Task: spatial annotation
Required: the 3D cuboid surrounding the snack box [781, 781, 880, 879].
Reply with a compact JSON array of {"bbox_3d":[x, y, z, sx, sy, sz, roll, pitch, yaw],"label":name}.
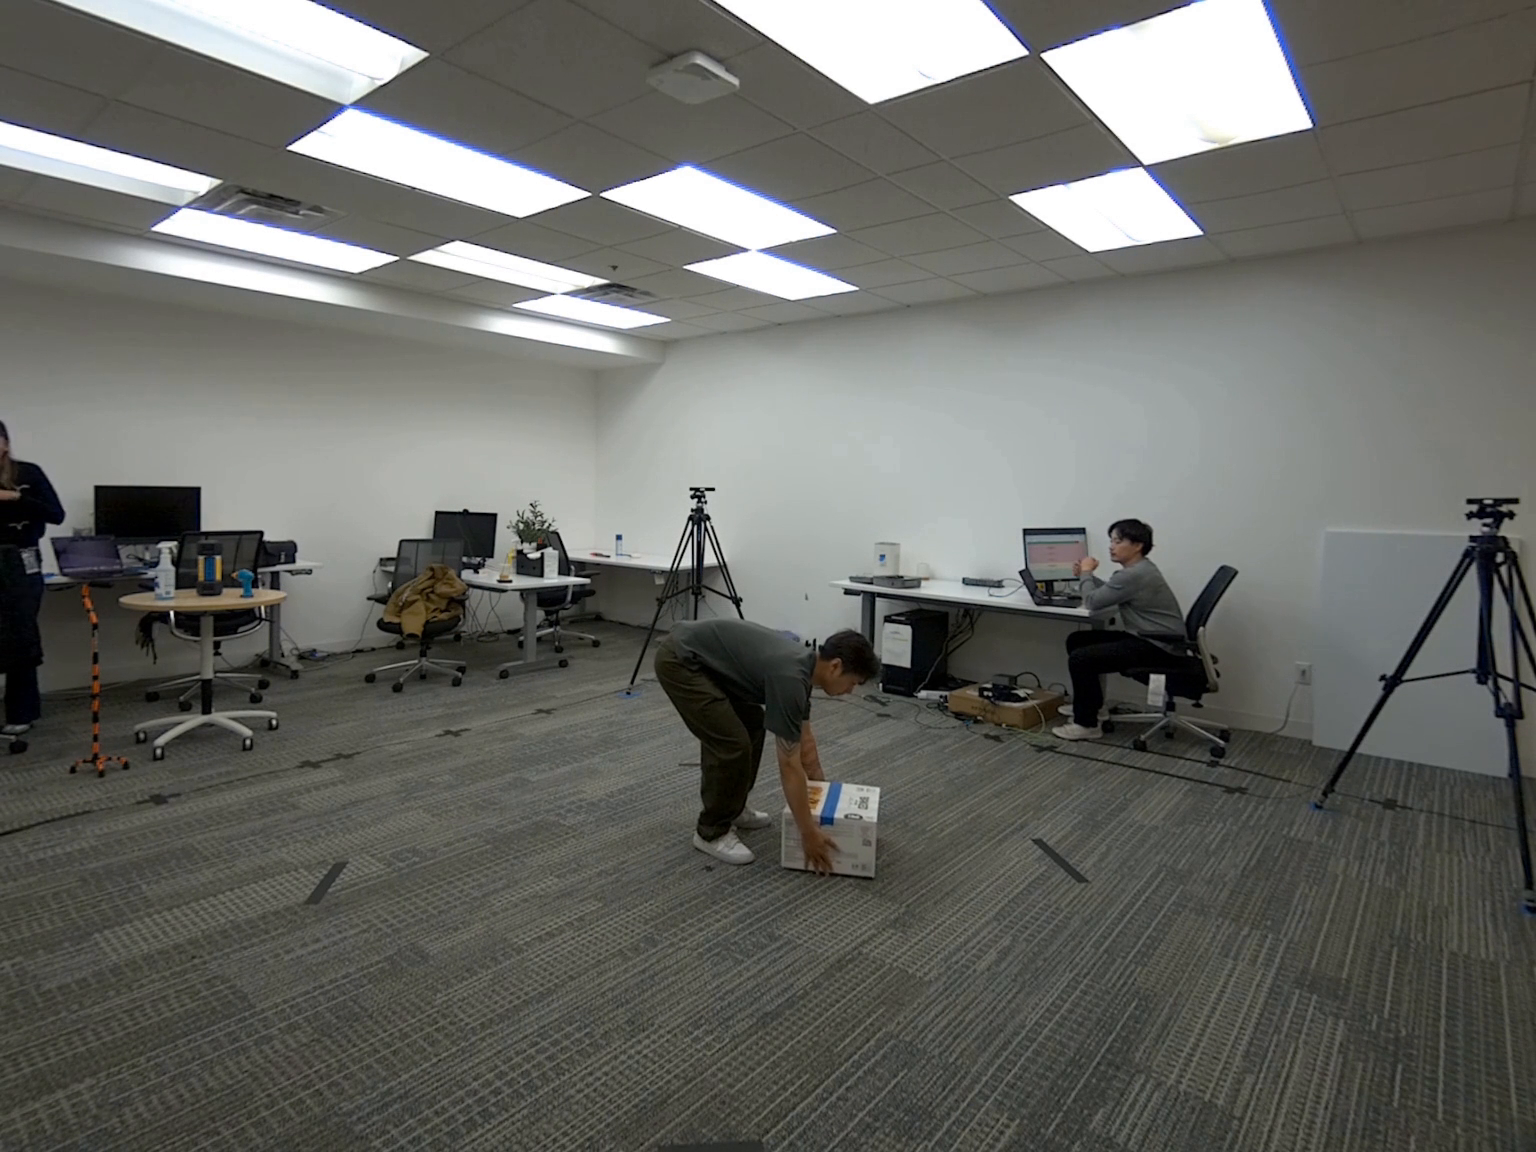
[{"bbox_3d":[0.240,0.952,3.274,0.344,0.205,0.401,2,4,10],"label":"snack box"}]
